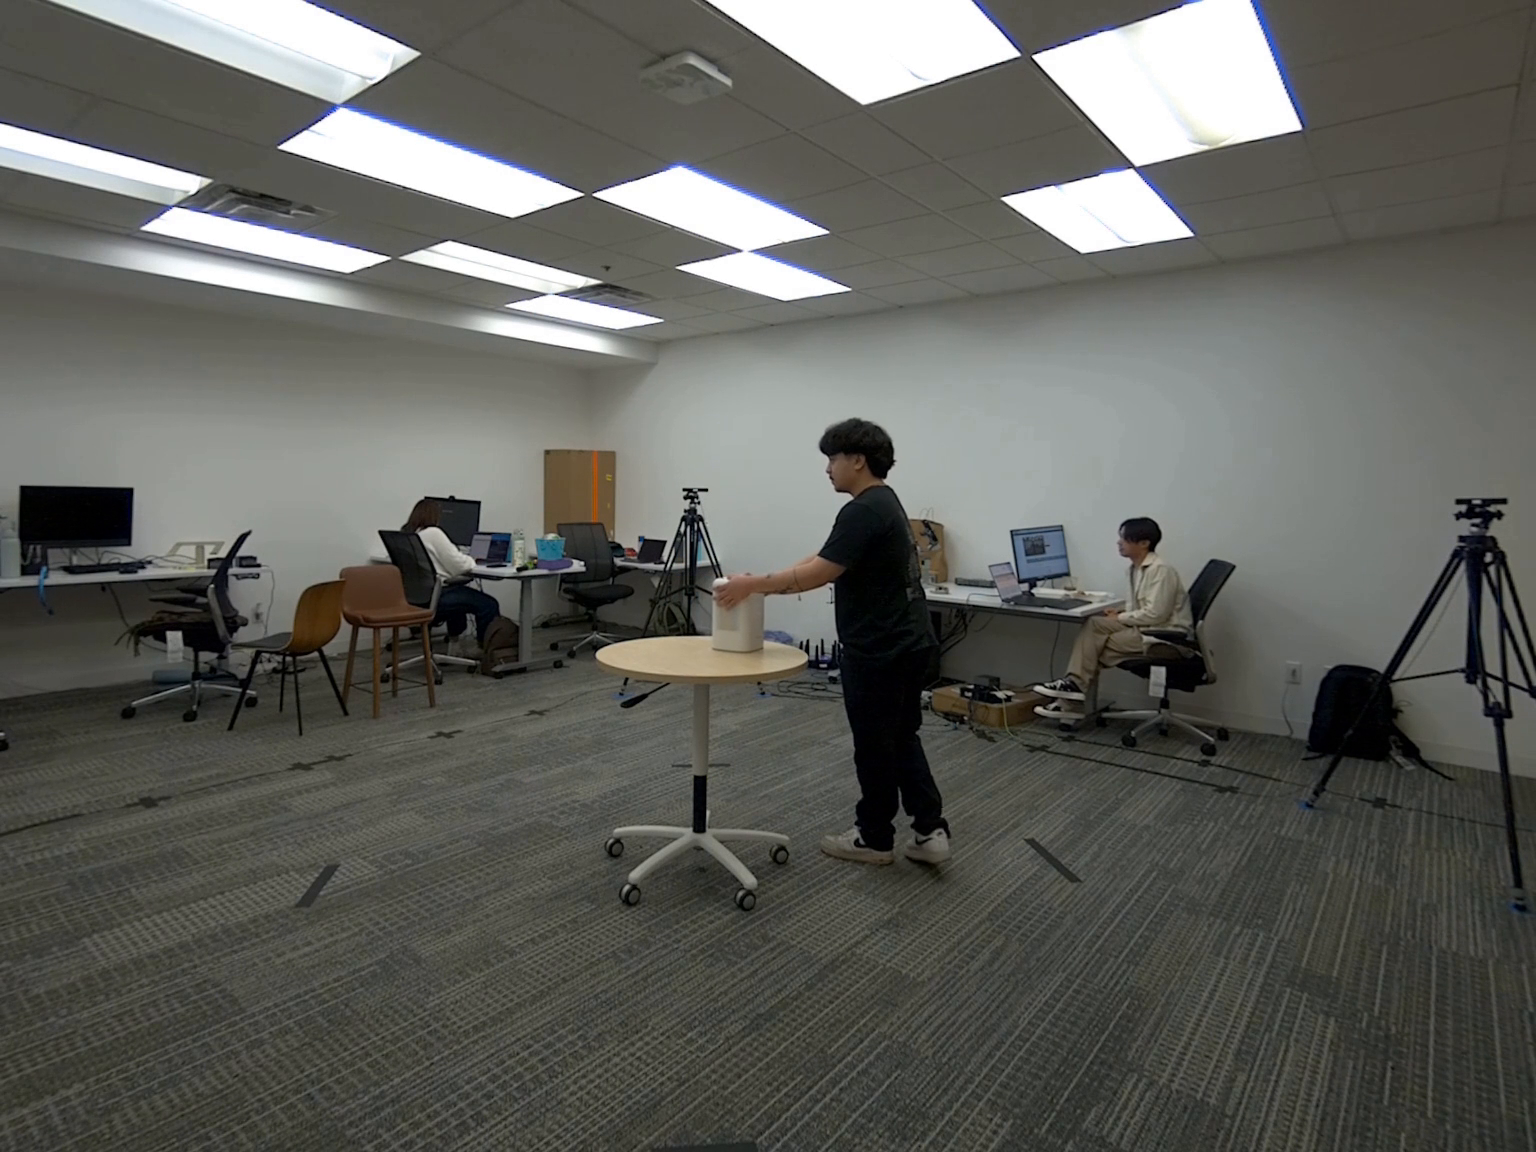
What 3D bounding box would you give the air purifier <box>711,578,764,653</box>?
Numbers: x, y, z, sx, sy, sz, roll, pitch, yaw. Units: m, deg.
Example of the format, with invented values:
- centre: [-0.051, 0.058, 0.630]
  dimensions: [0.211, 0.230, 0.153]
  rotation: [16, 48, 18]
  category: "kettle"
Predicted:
- centre: [-0.120, 0.140, 3.204]
  dimensions: [0.176, 0.265, 0.167]
  rotation: [2, 2, 27]
  category: "air purifier"
